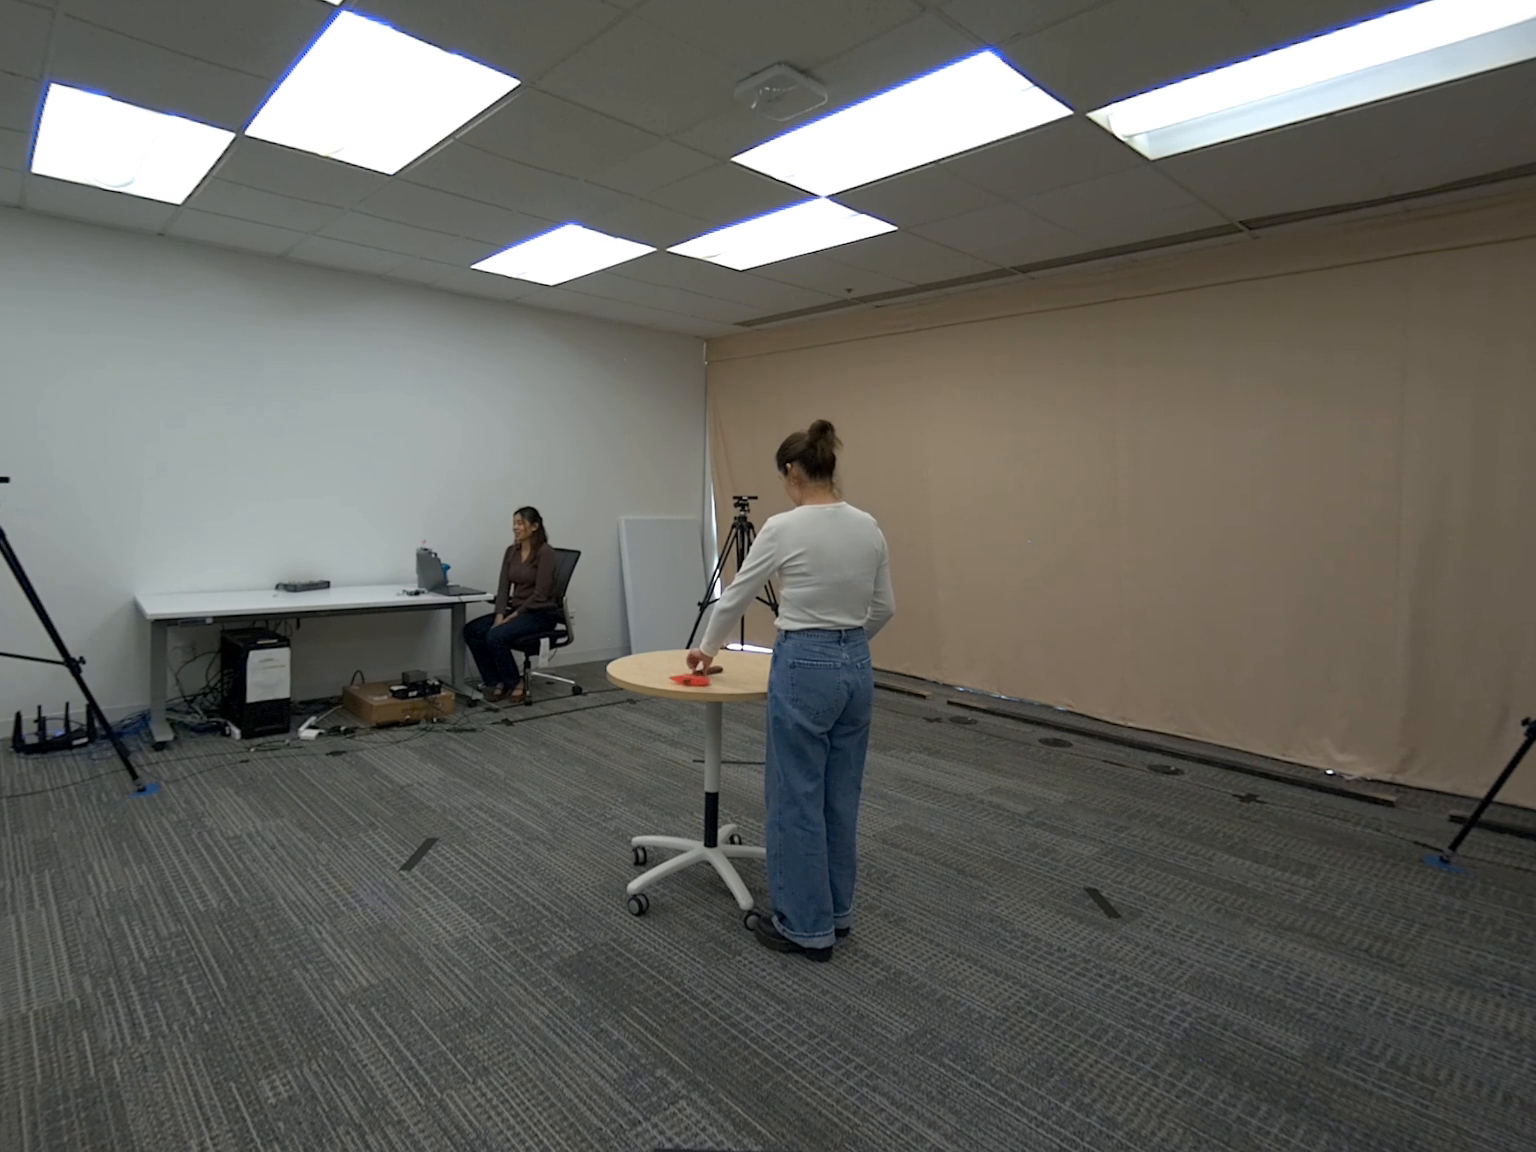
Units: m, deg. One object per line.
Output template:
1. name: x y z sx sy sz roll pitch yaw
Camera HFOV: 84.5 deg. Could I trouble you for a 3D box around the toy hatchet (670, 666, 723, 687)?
1. toy hatchet: -0.204 0.331 2.818 0.134 0.029 0.264 3 4 31
